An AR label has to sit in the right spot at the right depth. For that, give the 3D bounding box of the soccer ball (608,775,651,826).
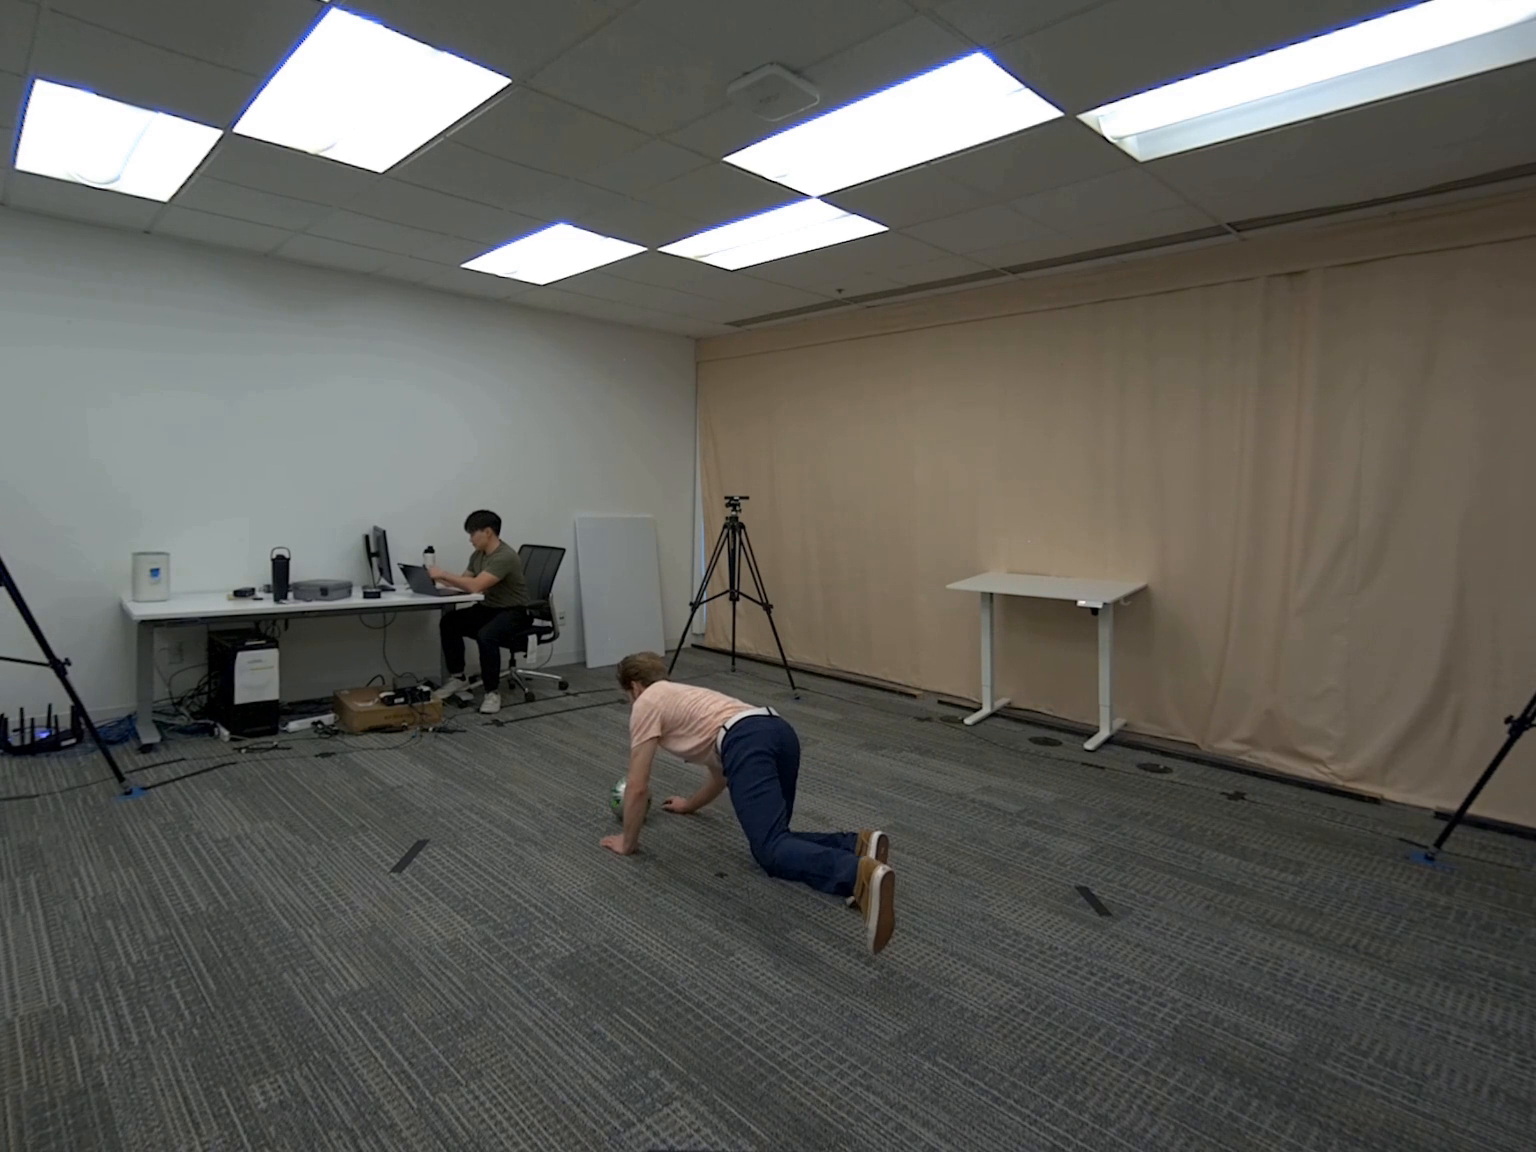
[{"bbox_3d":[-0.597,0.953,3.614,0.187,0.187,0.188,1,4,-1],"label":"soccer ball"}]
